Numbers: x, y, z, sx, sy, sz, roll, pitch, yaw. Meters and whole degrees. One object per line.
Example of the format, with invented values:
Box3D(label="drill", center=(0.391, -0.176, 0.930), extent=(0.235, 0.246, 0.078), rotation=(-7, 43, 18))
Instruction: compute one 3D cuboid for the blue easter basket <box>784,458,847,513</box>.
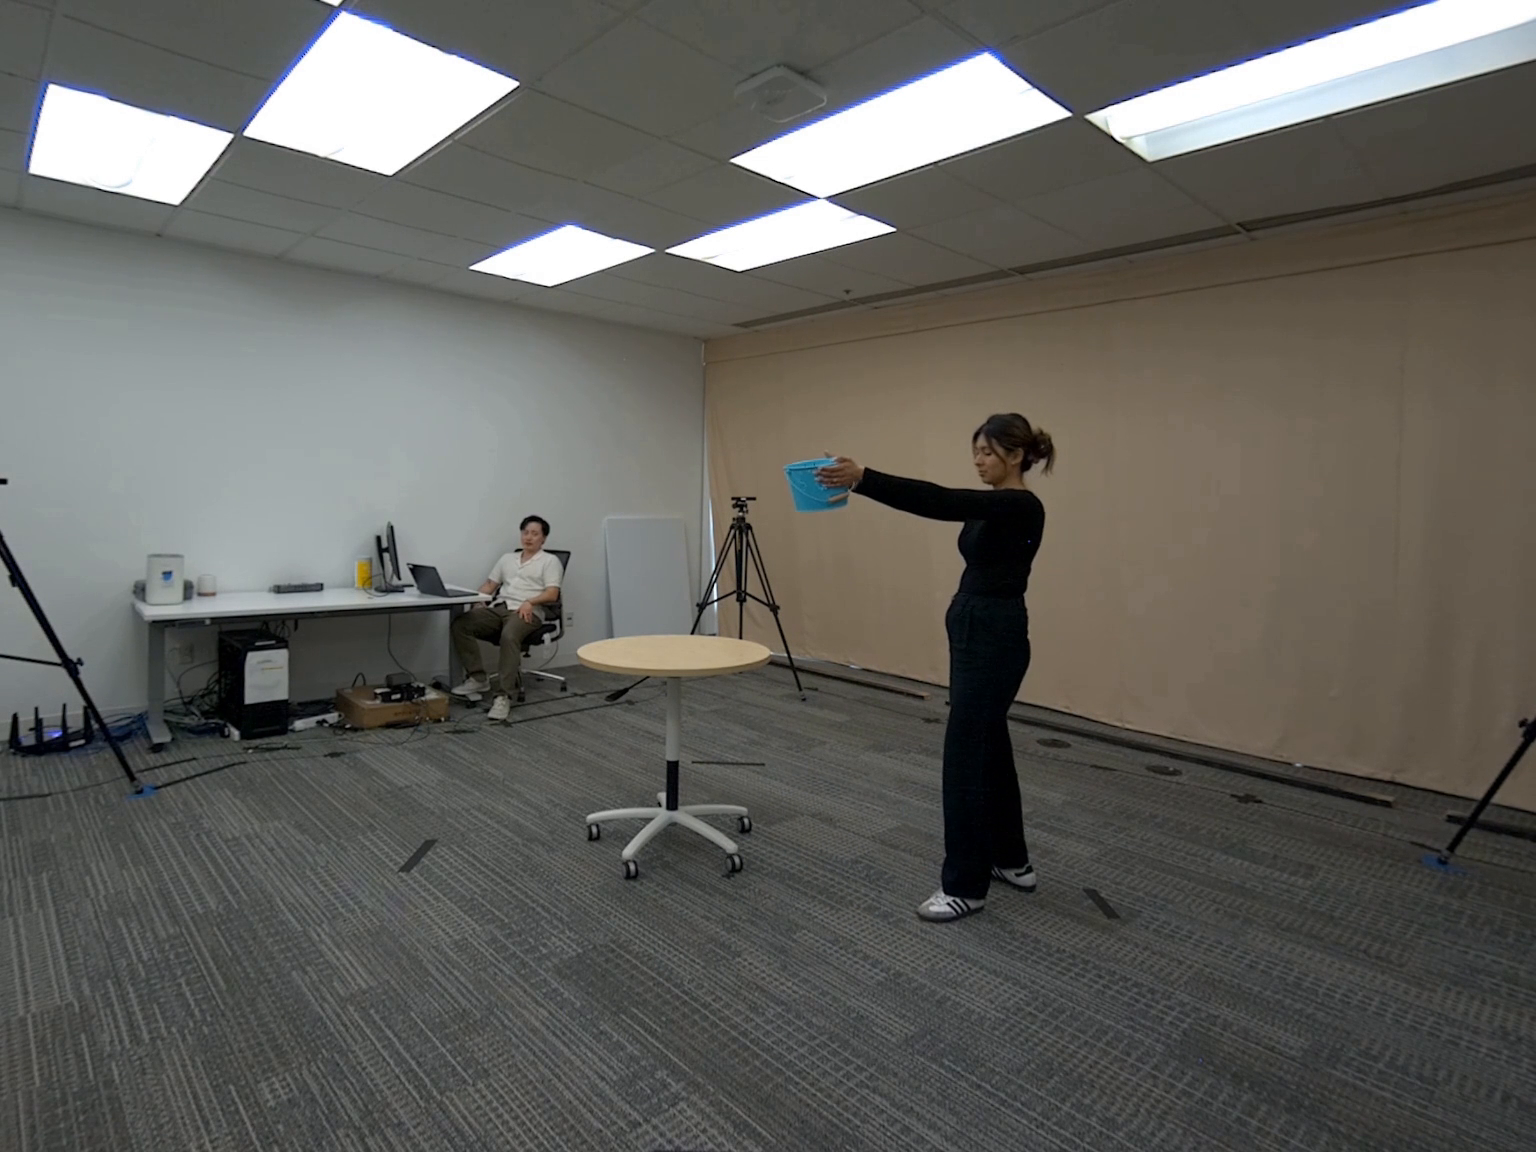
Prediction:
Box3D(label="blue easter basket", center=(0.176, -0.310, 2.853), extent=(0.243, 0.154, 0.245), rotation=(-7, 11, 0))
